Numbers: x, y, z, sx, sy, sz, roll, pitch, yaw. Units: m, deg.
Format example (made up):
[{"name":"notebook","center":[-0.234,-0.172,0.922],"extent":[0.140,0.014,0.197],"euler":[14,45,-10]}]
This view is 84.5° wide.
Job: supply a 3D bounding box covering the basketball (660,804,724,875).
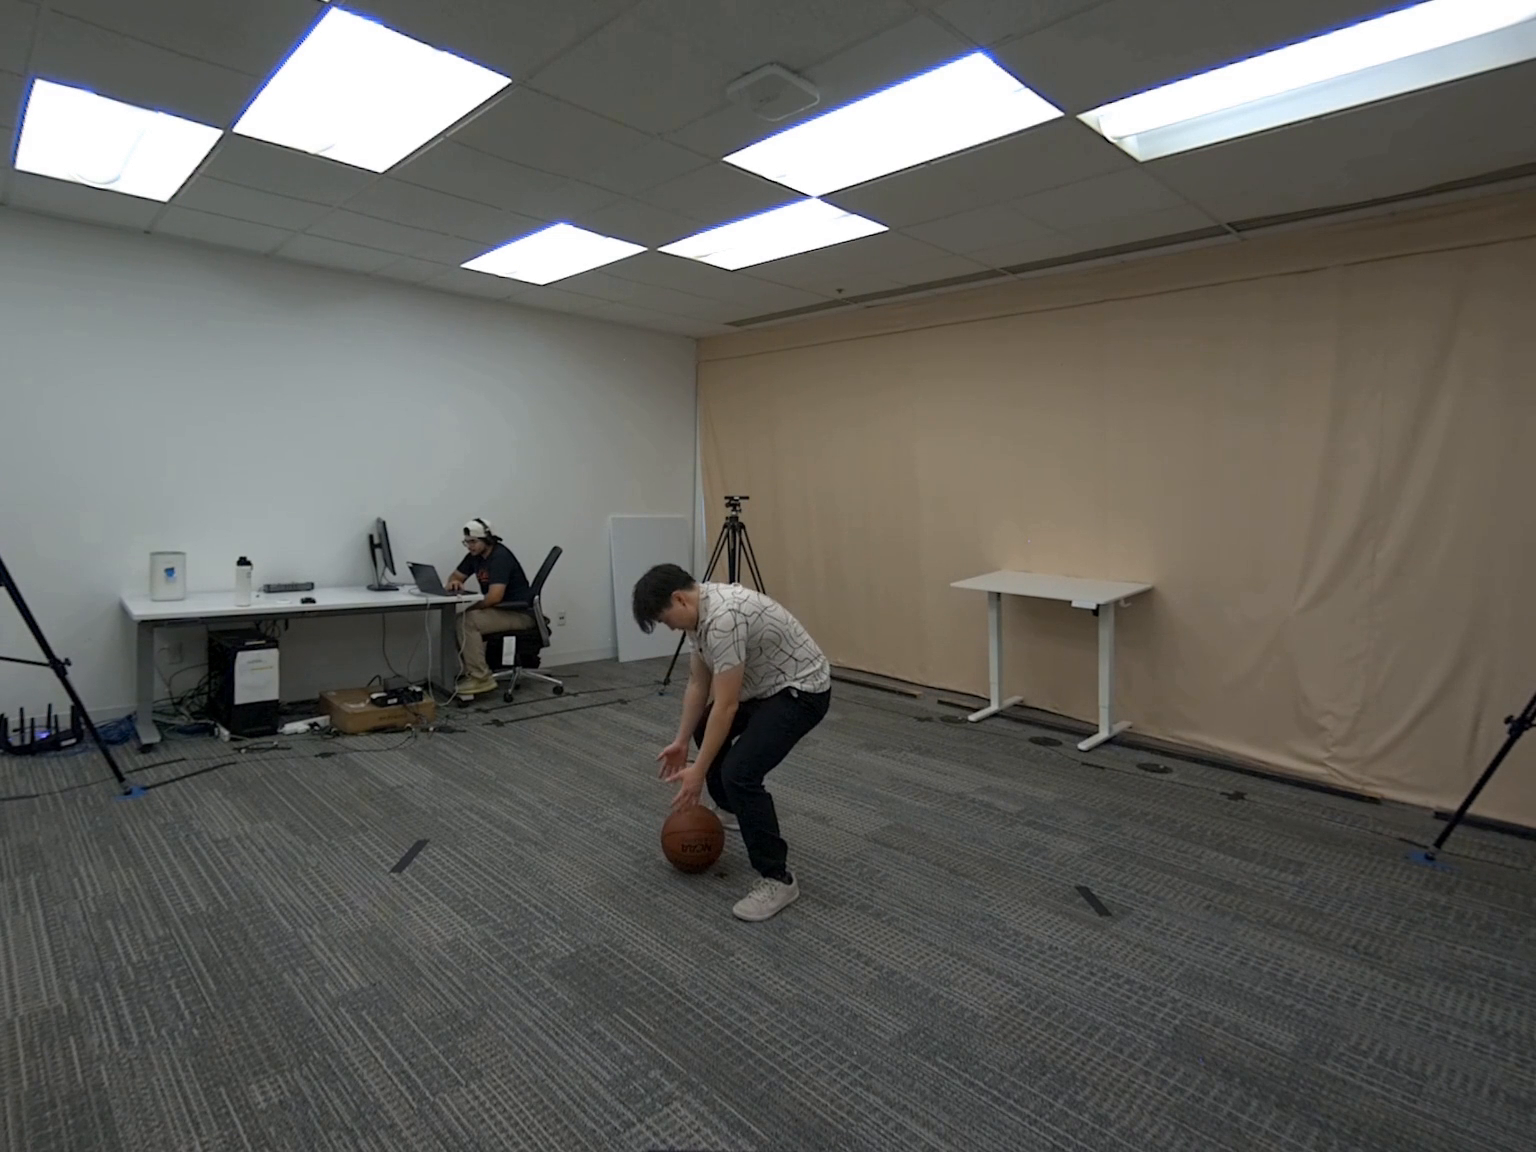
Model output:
[{"name":"basketball","center":[-0.291,0.977,3.137],"extent":[0.236,0.235,0.237],"euler":[1,4,-1]}]
